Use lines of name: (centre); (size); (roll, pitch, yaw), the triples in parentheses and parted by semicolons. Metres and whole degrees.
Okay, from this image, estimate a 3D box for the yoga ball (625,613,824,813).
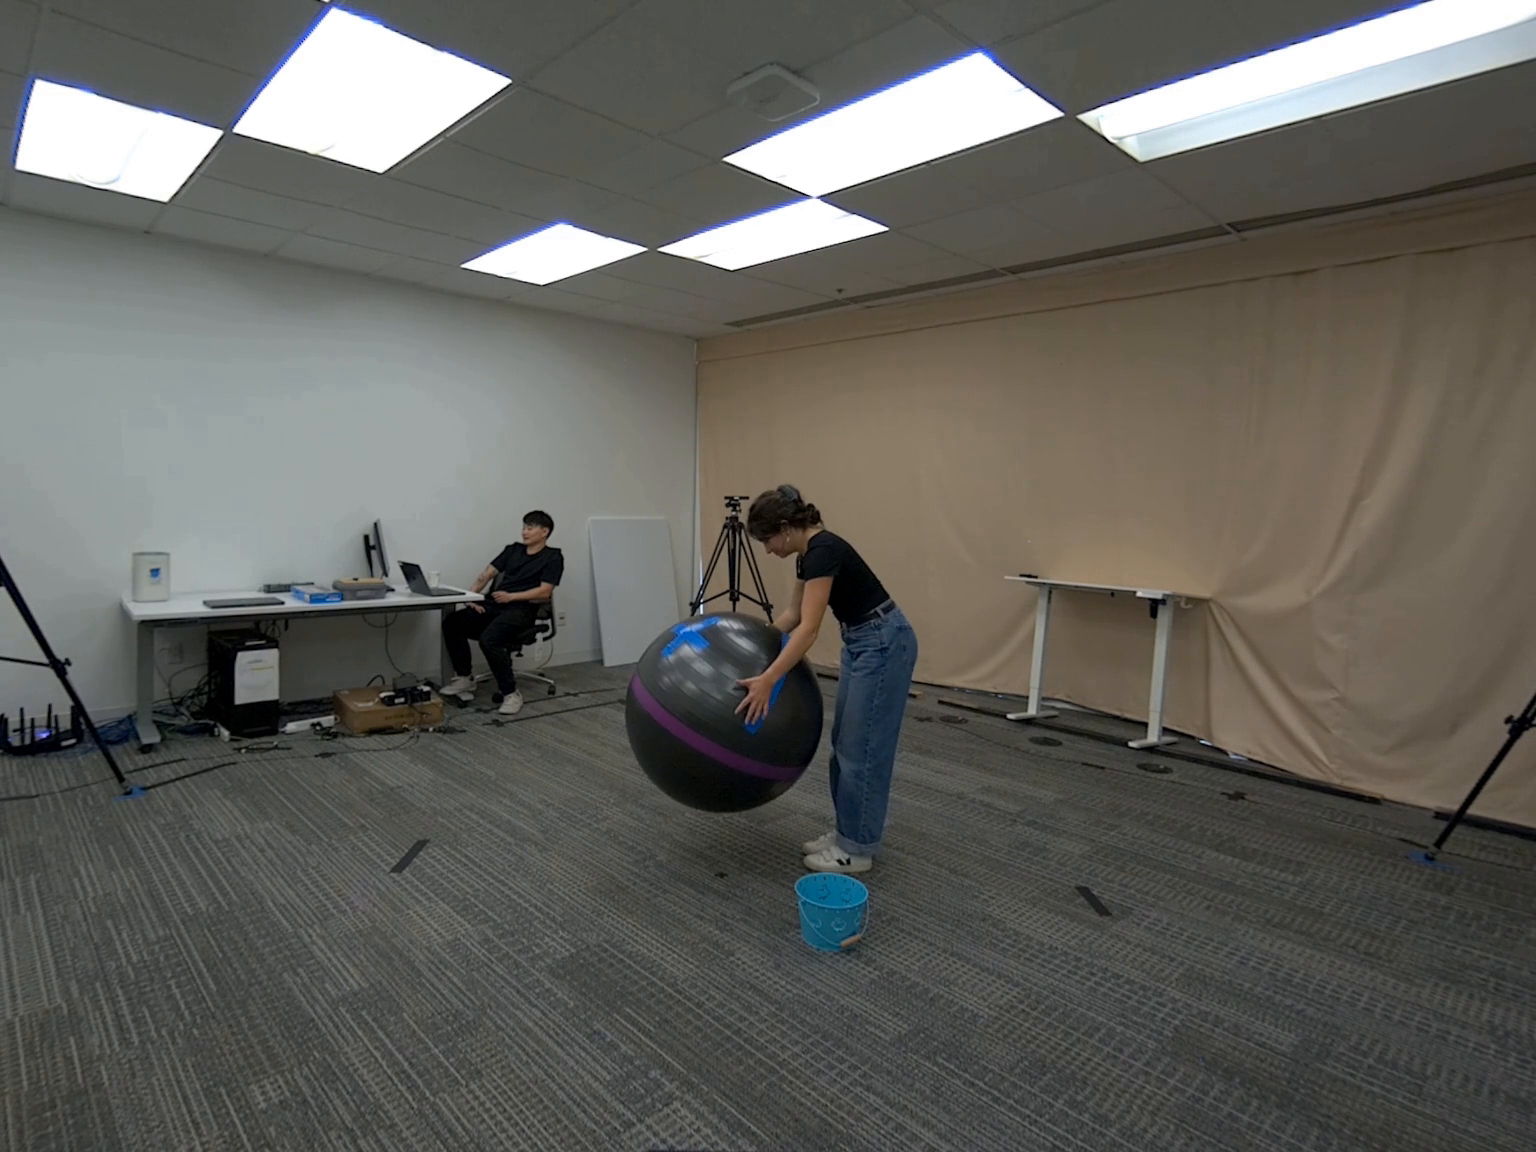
yoga ball: (-0.185, 0.558, 3.252); (0.757, 0.756, 0.761); (1, 4, -1)
